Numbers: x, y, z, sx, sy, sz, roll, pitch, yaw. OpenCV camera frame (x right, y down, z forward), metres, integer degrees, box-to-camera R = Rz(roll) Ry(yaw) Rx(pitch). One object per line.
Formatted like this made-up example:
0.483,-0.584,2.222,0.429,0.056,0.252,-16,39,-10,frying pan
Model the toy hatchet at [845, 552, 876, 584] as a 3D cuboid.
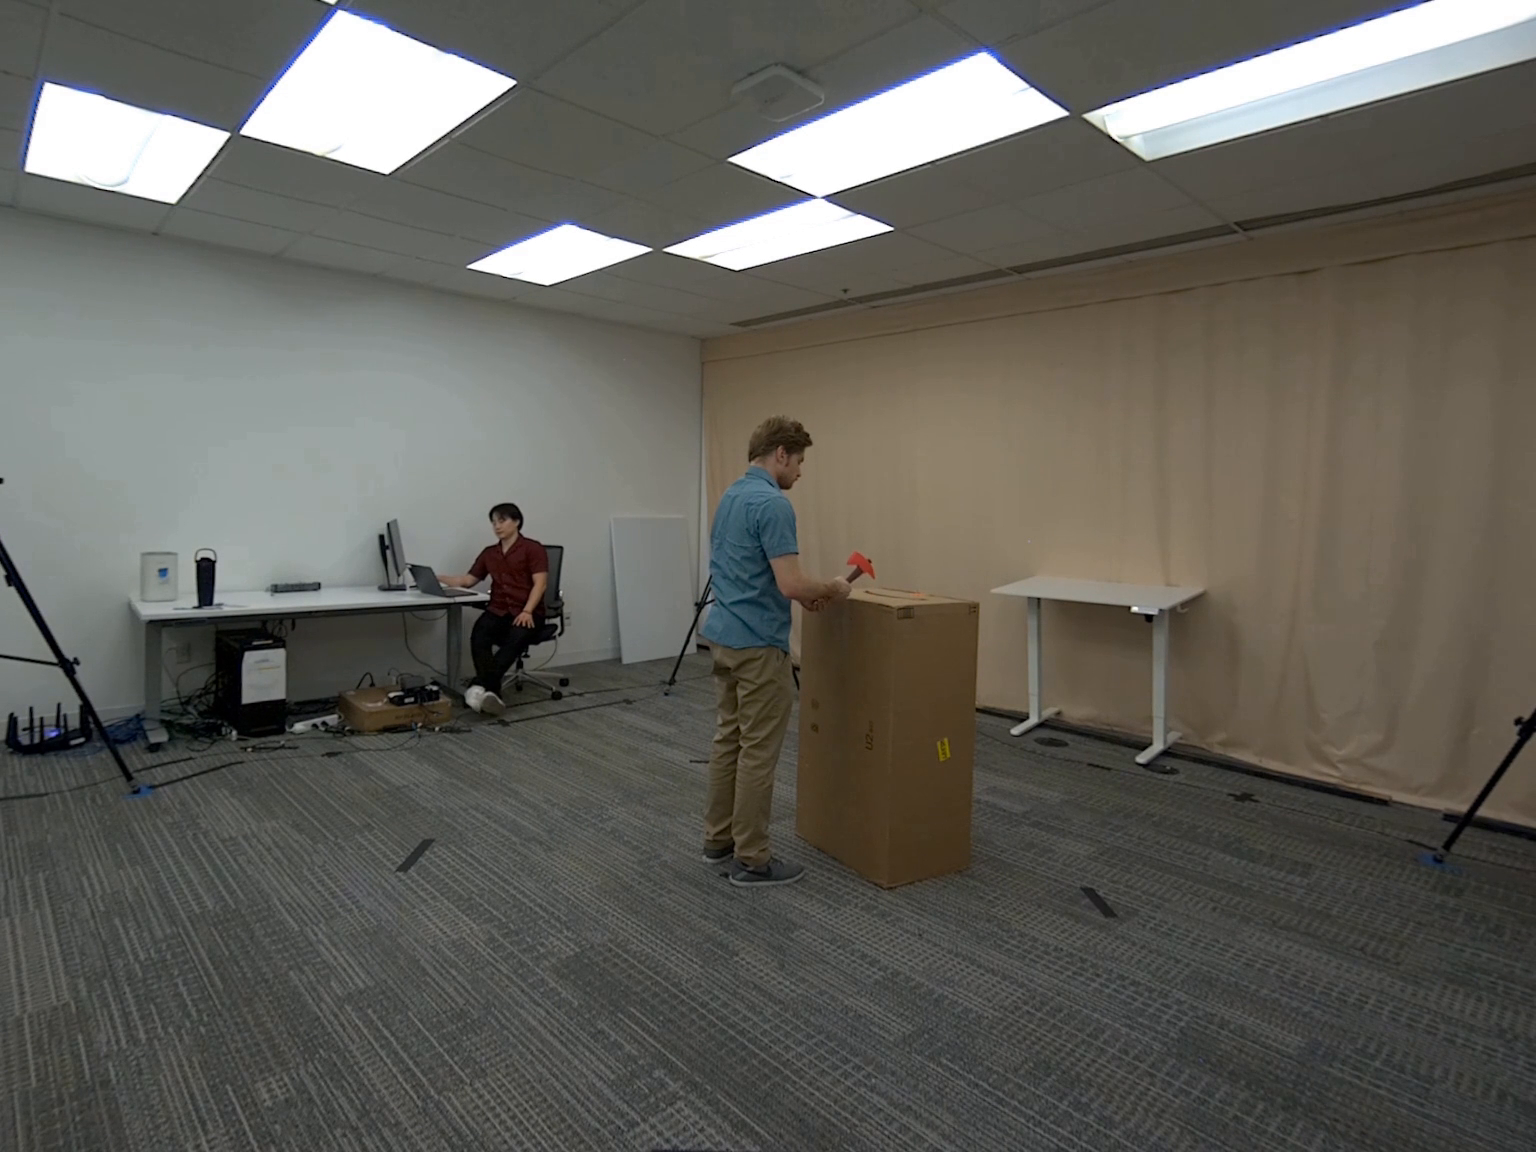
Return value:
0.261,-0.008,3.170,0.268,0.130,0.030,-20,11,-11,toy hatchet
